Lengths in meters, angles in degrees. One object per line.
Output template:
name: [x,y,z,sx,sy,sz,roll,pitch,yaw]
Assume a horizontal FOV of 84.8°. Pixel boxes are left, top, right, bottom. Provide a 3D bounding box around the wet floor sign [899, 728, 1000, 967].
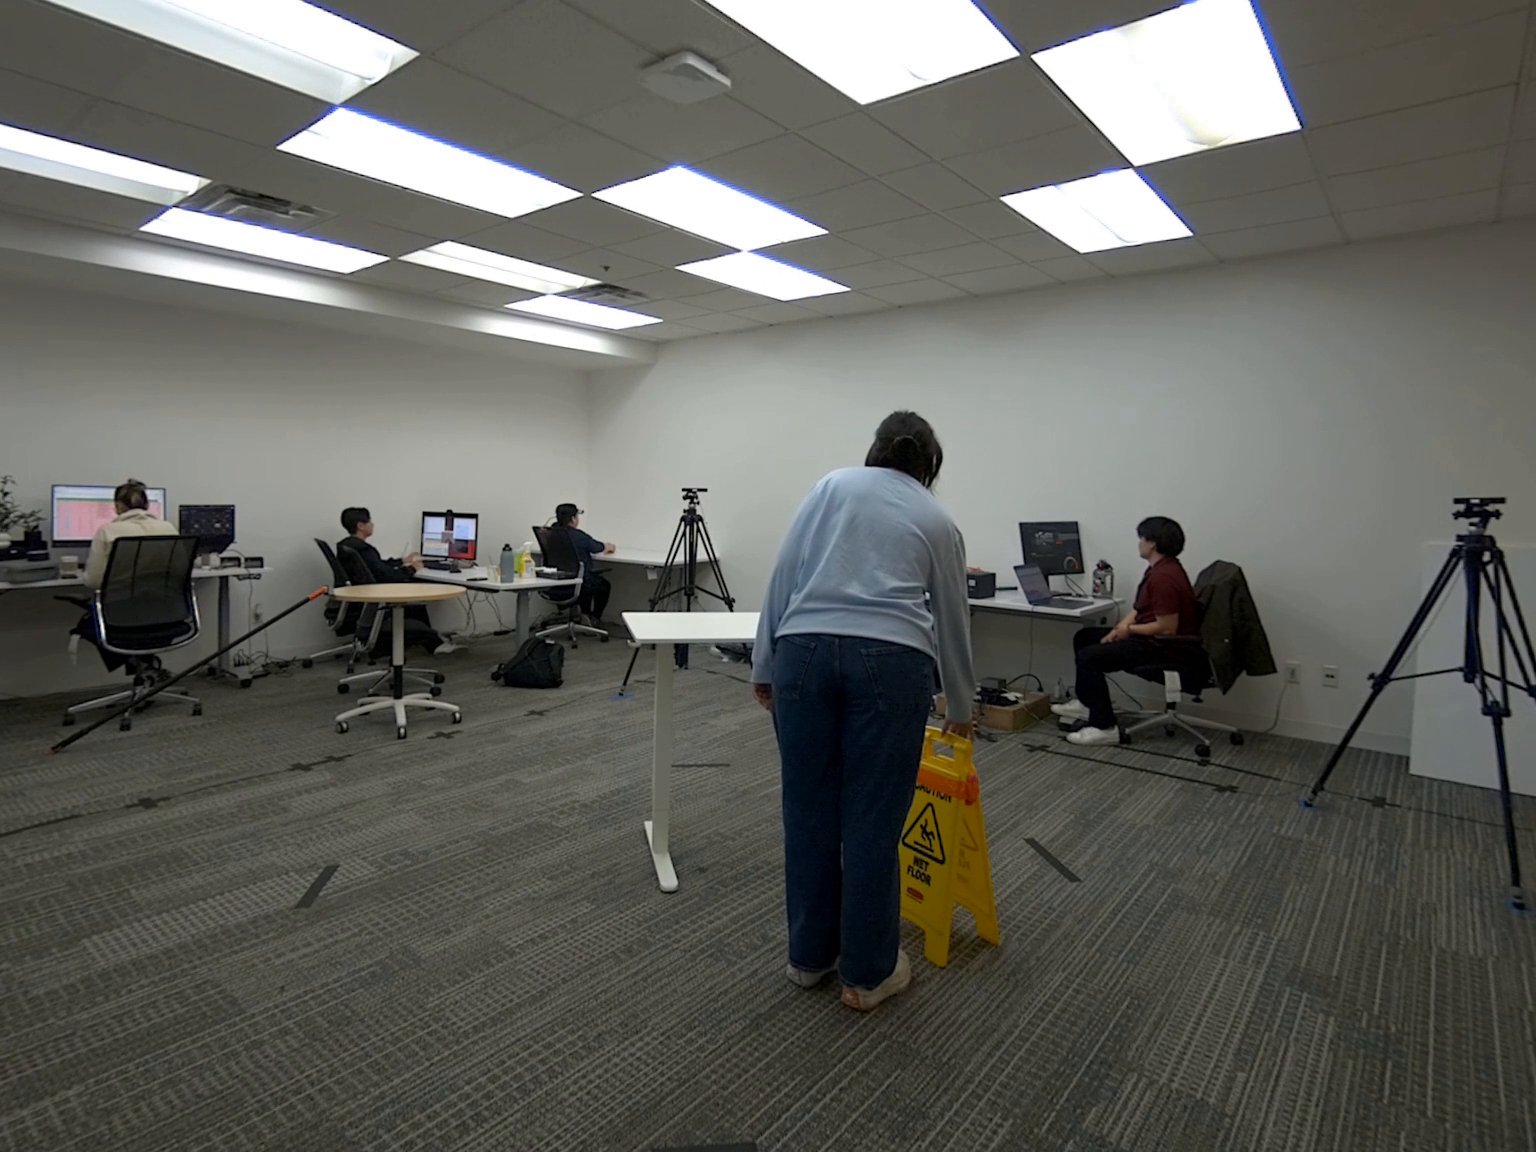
wet floor sign: [0.536,0.806,2.660,0.281,0.644,0.291,0,4,-35]
